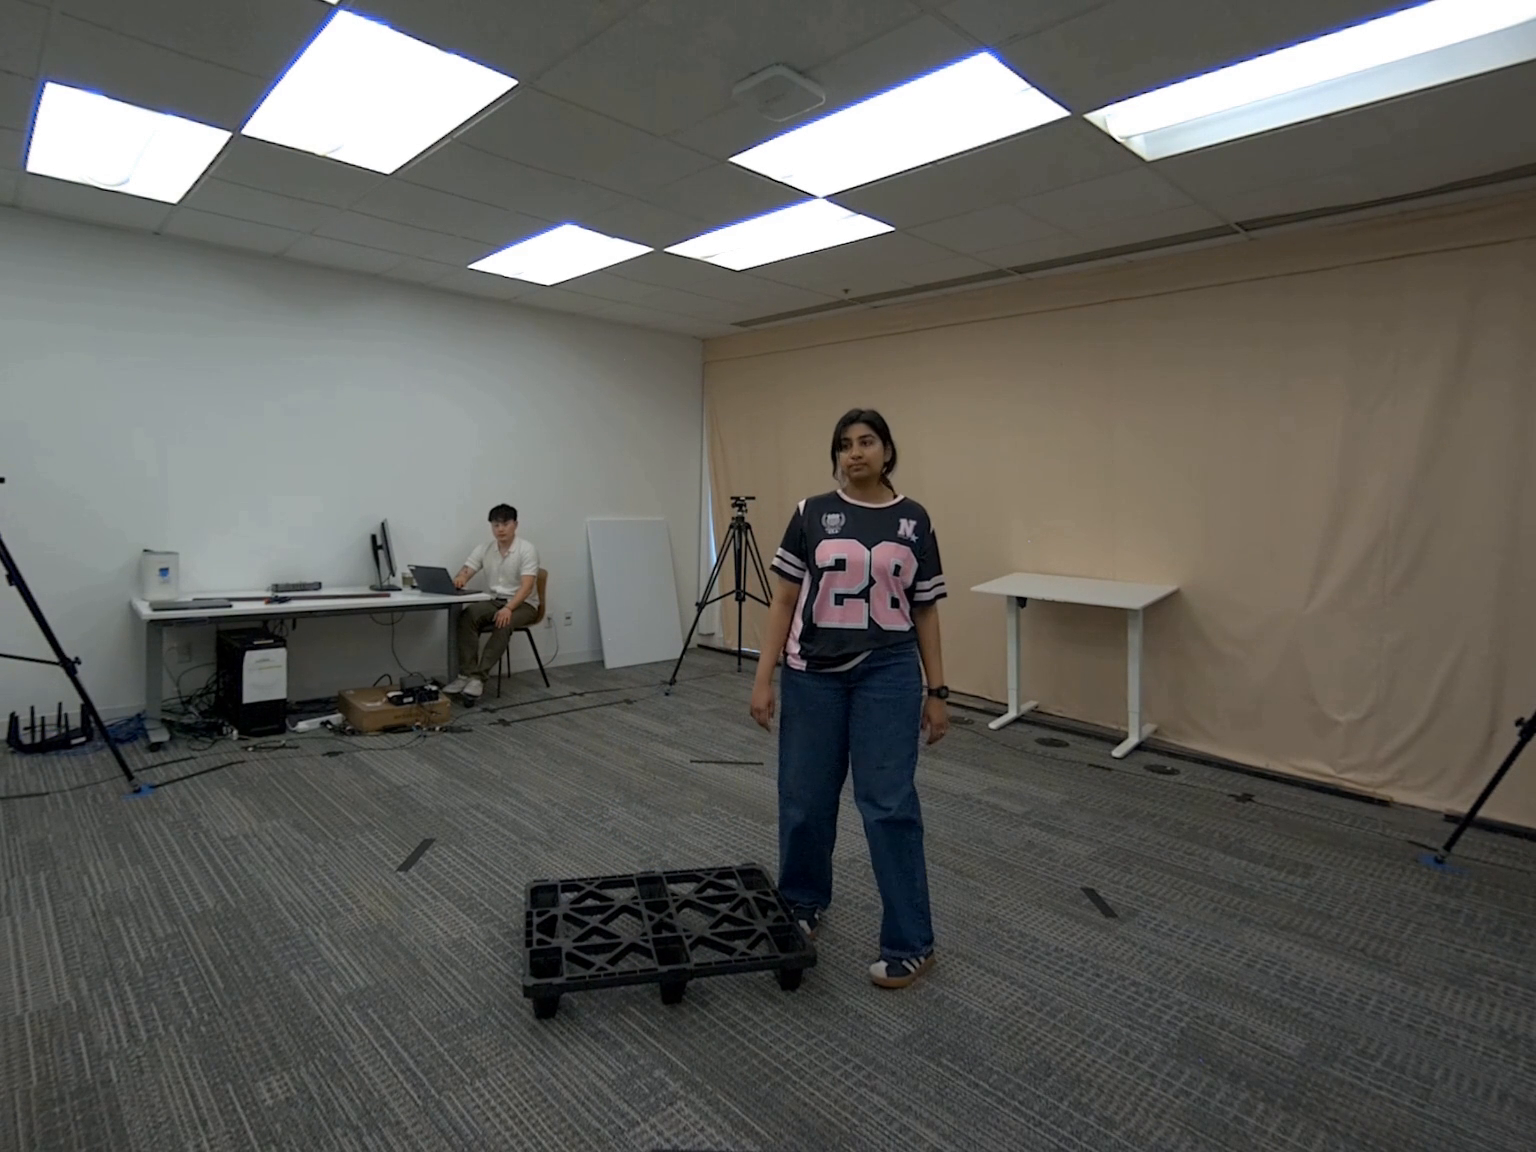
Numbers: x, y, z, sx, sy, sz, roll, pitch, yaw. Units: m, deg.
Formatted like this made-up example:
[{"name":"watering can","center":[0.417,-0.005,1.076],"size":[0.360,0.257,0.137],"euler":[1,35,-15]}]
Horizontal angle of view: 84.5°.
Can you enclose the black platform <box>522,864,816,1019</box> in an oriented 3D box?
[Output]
[{"name":"black platform","center":[-0.339,1.093,2.519],"size":[0.797,0.143,0.614],"euler":[0,7,-14]}]
